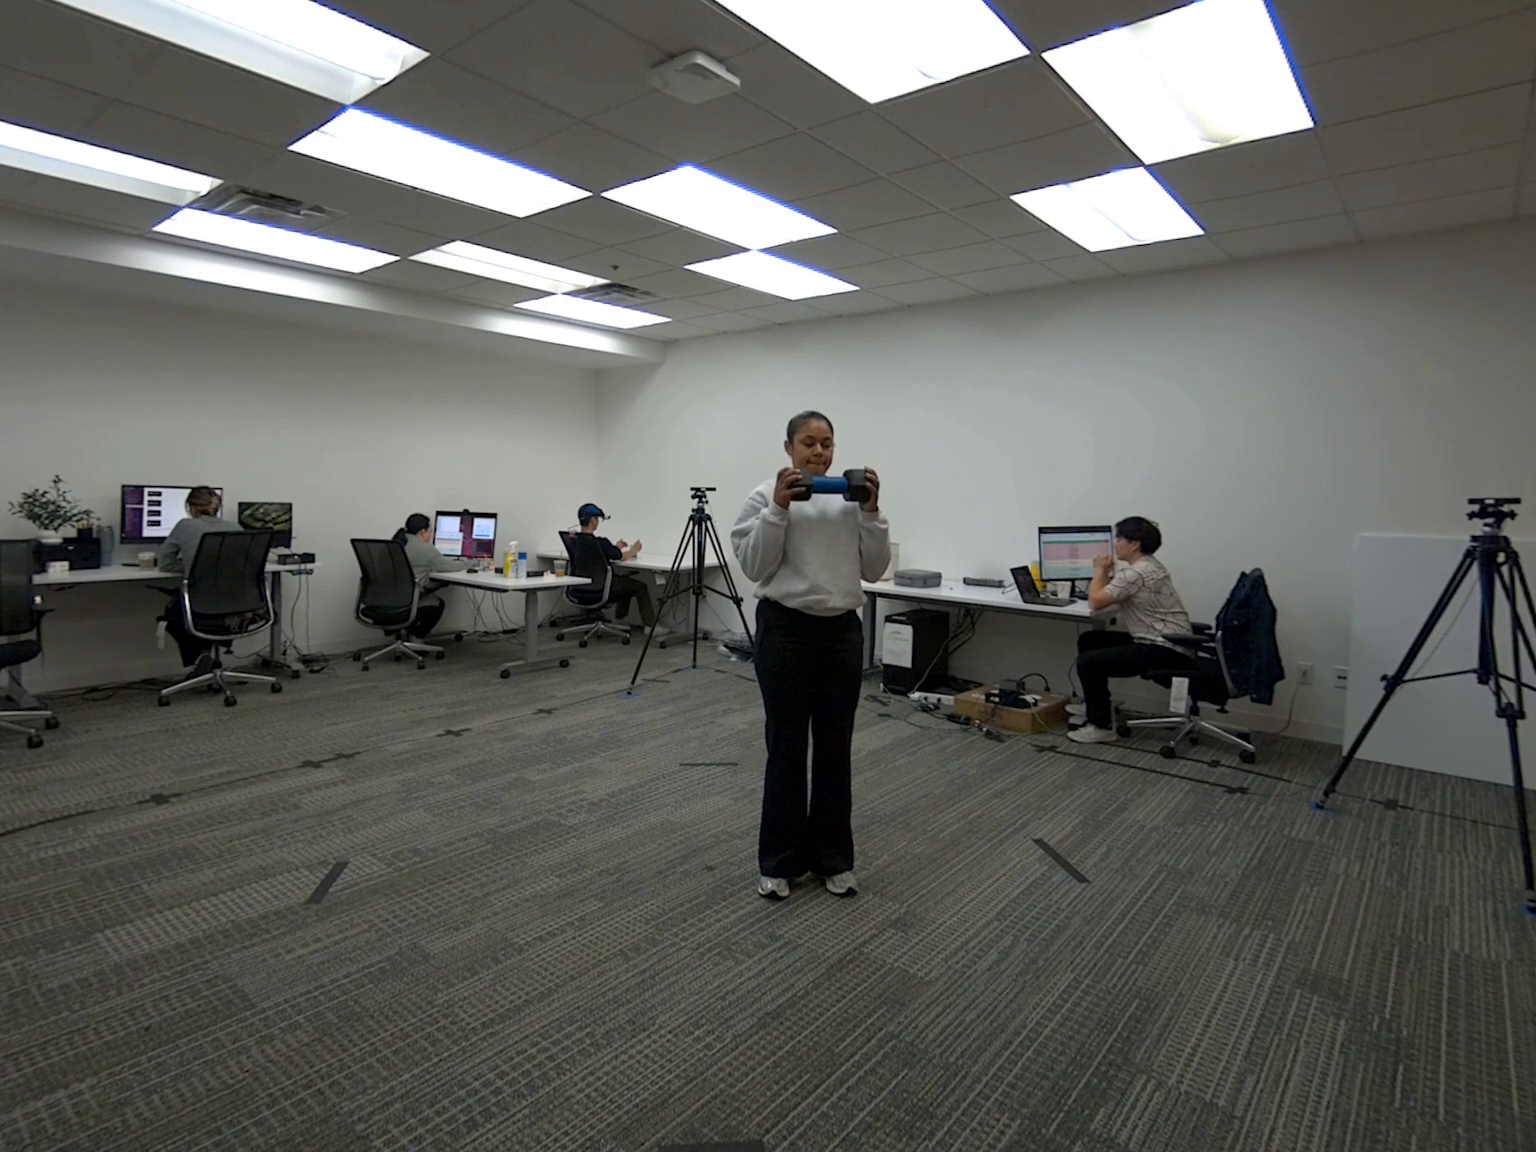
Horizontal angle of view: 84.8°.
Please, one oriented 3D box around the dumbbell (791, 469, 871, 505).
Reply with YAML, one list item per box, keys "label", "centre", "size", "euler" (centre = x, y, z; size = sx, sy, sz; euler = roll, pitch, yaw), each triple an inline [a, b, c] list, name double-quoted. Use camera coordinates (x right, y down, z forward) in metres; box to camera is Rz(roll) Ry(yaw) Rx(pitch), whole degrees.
- label: "dumbbell"
  centre: [0.180, -0.301, 2.828]
  size: [0.289, 0.126, 0.107]
  euler: [-1, -25, -13]
